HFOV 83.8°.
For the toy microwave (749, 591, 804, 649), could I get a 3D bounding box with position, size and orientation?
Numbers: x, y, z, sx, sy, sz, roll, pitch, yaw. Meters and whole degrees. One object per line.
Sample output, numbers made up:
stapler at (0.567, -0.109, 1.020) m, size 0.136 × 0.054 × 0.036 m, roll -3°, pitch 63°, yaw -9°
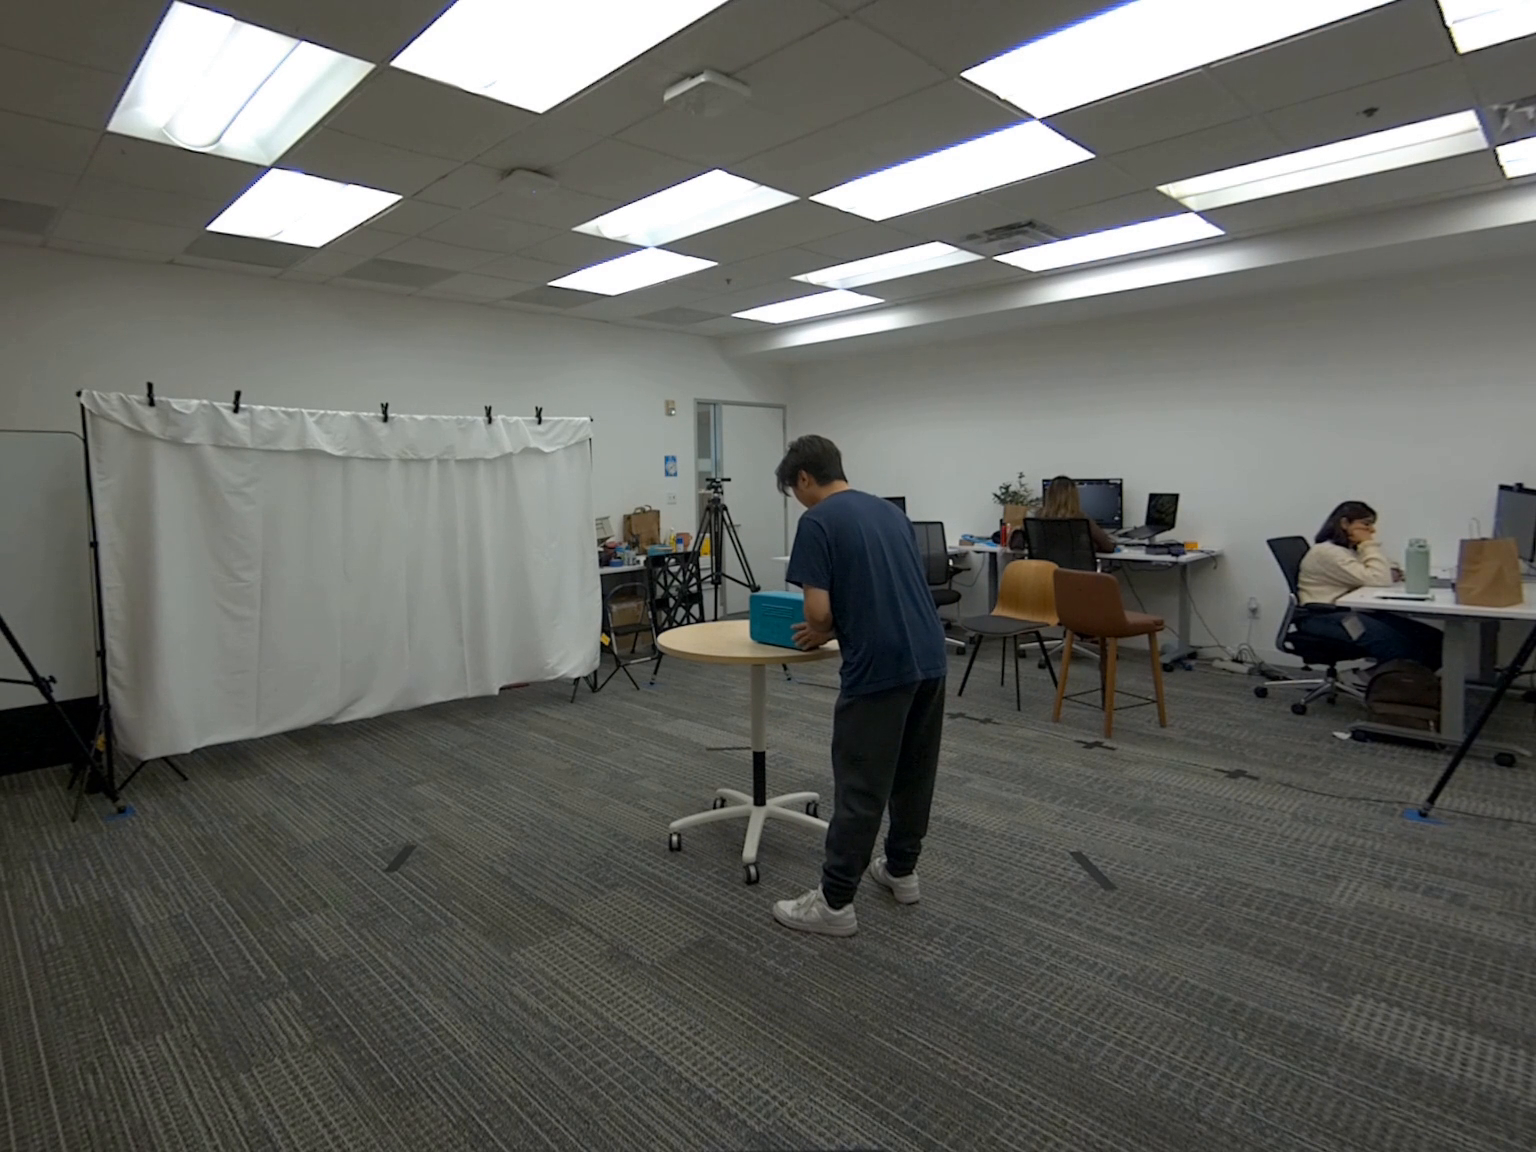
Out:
toy microwave at (0.082, 0.157, 3.086) m, size 0.295 × 0.183 × 0.148 m, roll 5°, pitch 7°, yaw 44°
